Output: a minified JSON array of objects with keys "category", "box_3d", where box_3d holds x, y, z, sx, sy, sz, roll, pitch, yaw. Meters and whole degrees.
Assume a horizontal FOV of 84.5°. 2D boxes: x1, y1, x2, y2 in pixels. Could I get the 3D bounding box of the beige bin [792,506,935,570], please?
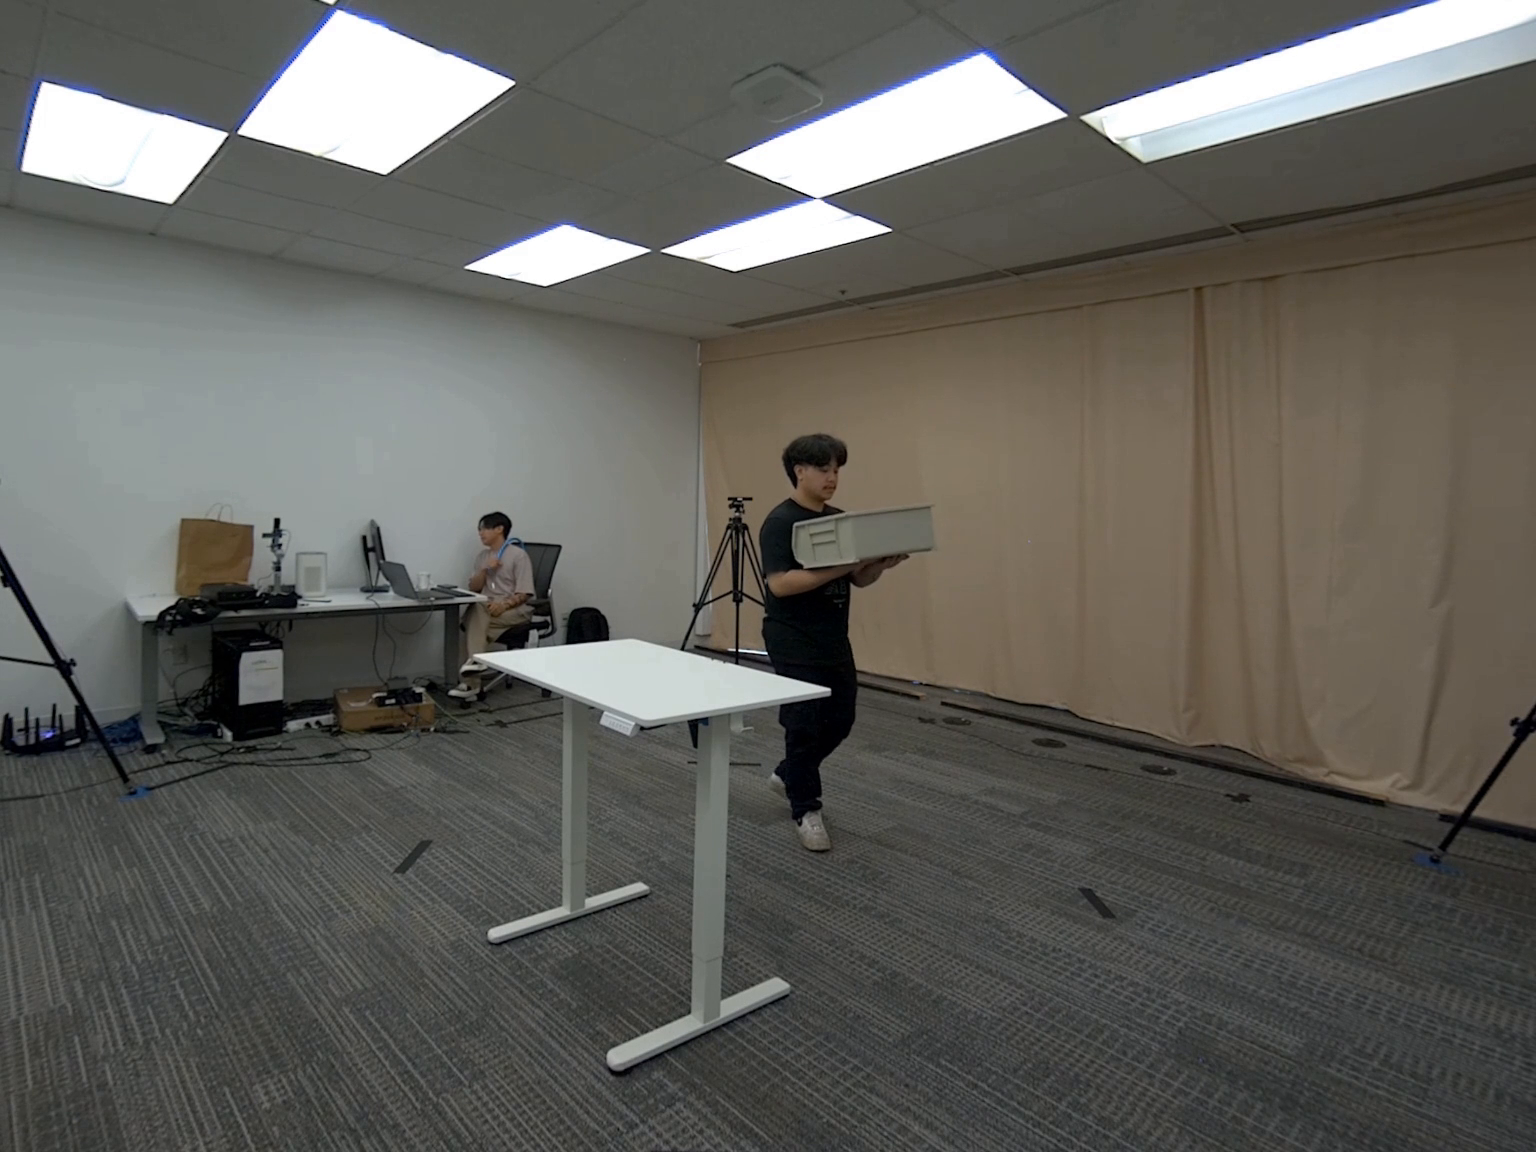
[{"category":"beige bin","box_3d":[0.360,-0.150,3.226,0.415,0.189,0.384,-8,2,-30]}]
